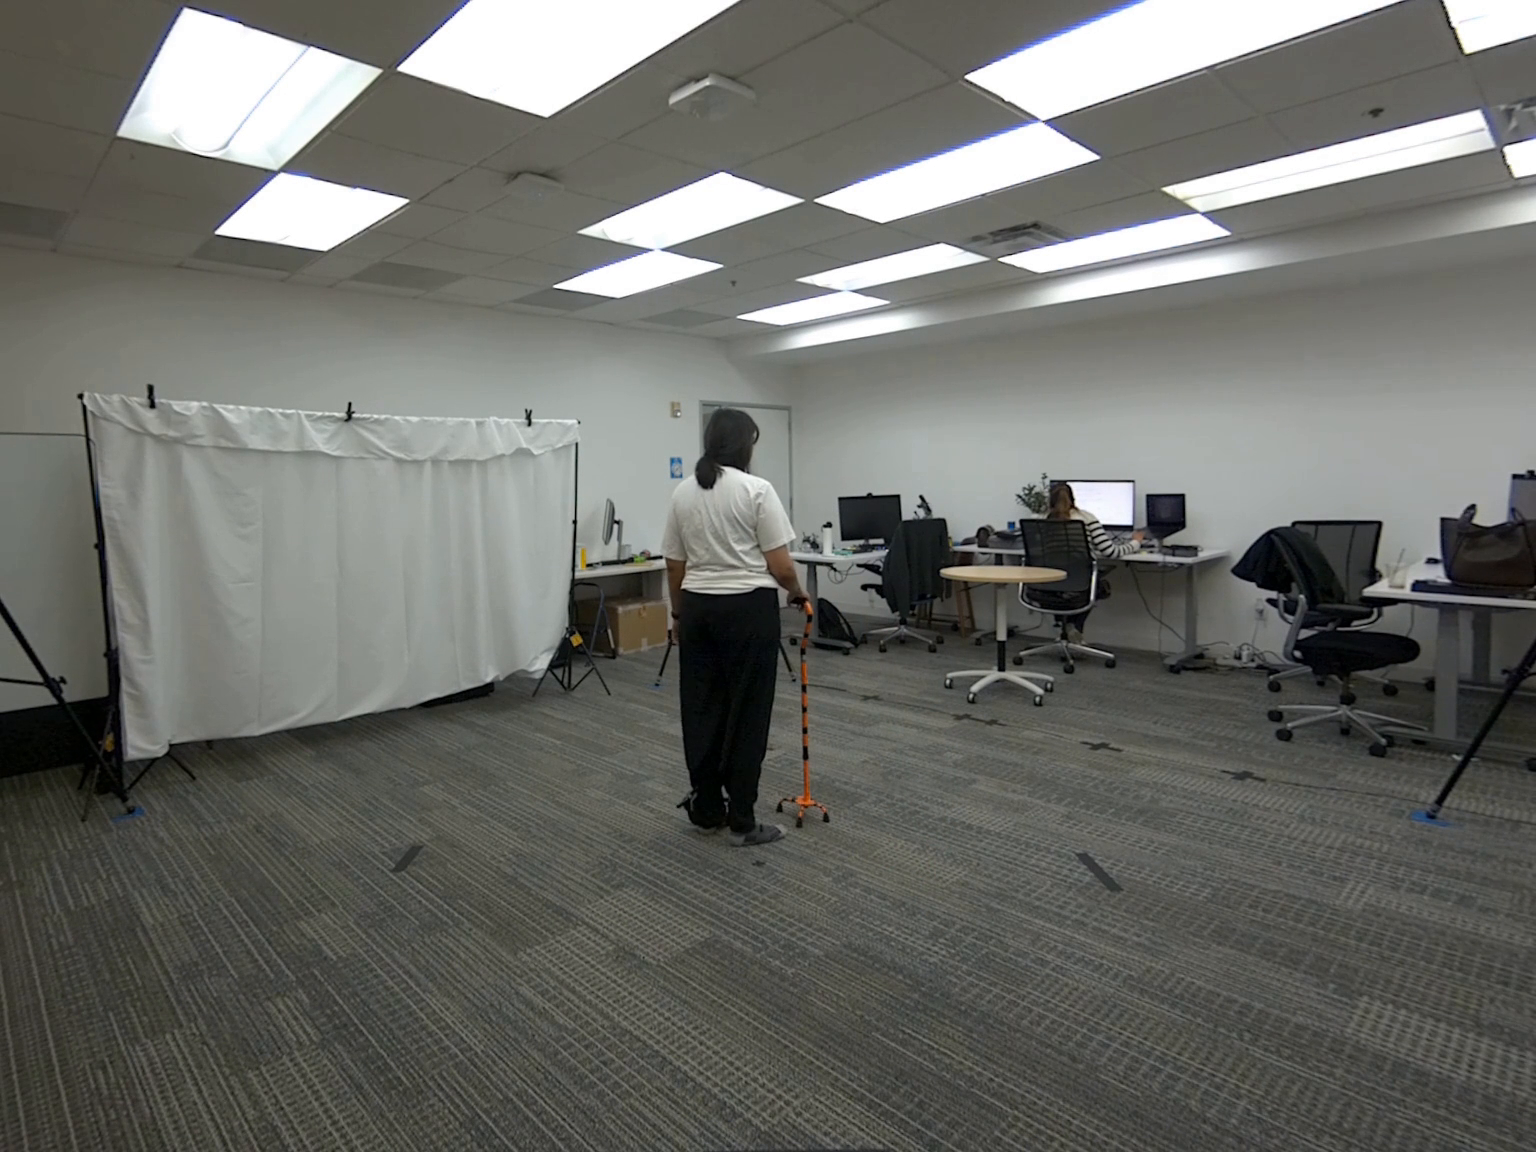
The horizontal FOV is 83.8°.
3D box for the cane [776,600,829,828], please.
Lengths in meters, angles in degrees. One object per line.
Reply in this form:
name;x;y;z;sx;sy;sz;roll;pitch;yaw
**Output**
cane;0.144;0.543;3.518;0.148;0.905;0.211;-2;3;-25
